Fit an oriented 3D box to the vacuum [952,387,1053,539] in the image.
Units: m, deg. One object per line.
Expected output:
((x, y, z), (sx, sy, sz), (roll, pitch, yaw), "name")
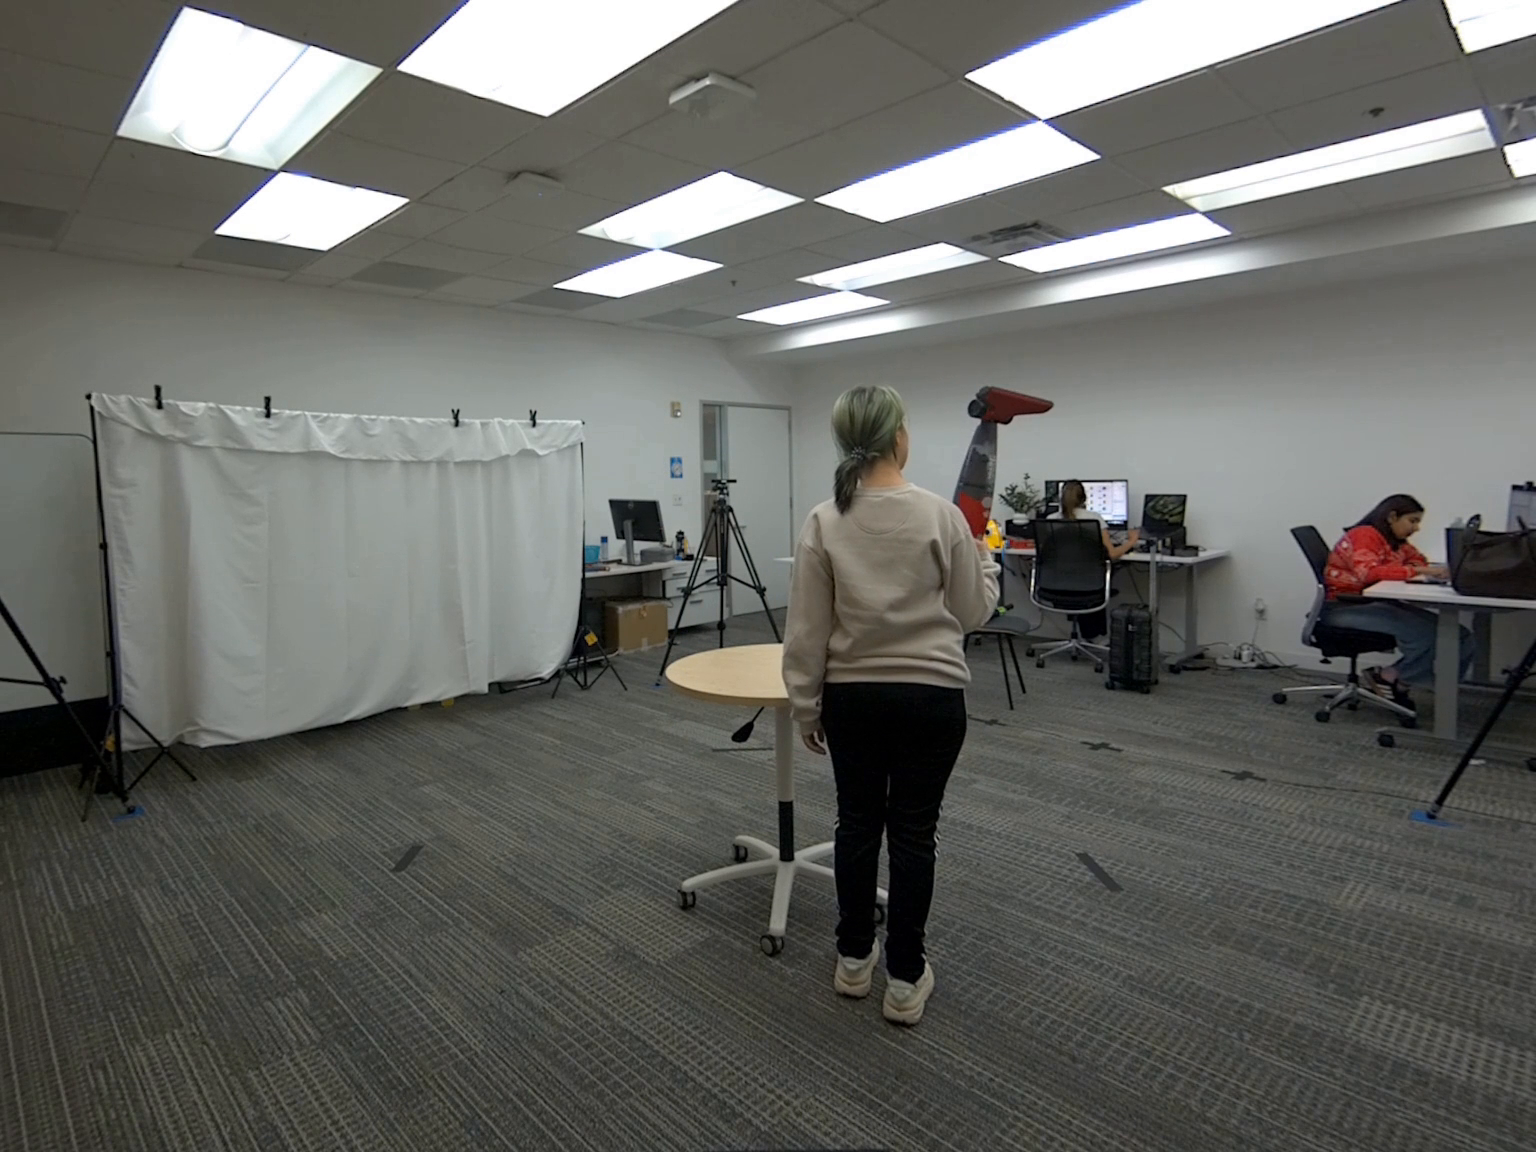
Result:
((0.558, 0.008, 2.484), (0.246, 1.042, 0.149), (8, 11, -28), "vacuum")
